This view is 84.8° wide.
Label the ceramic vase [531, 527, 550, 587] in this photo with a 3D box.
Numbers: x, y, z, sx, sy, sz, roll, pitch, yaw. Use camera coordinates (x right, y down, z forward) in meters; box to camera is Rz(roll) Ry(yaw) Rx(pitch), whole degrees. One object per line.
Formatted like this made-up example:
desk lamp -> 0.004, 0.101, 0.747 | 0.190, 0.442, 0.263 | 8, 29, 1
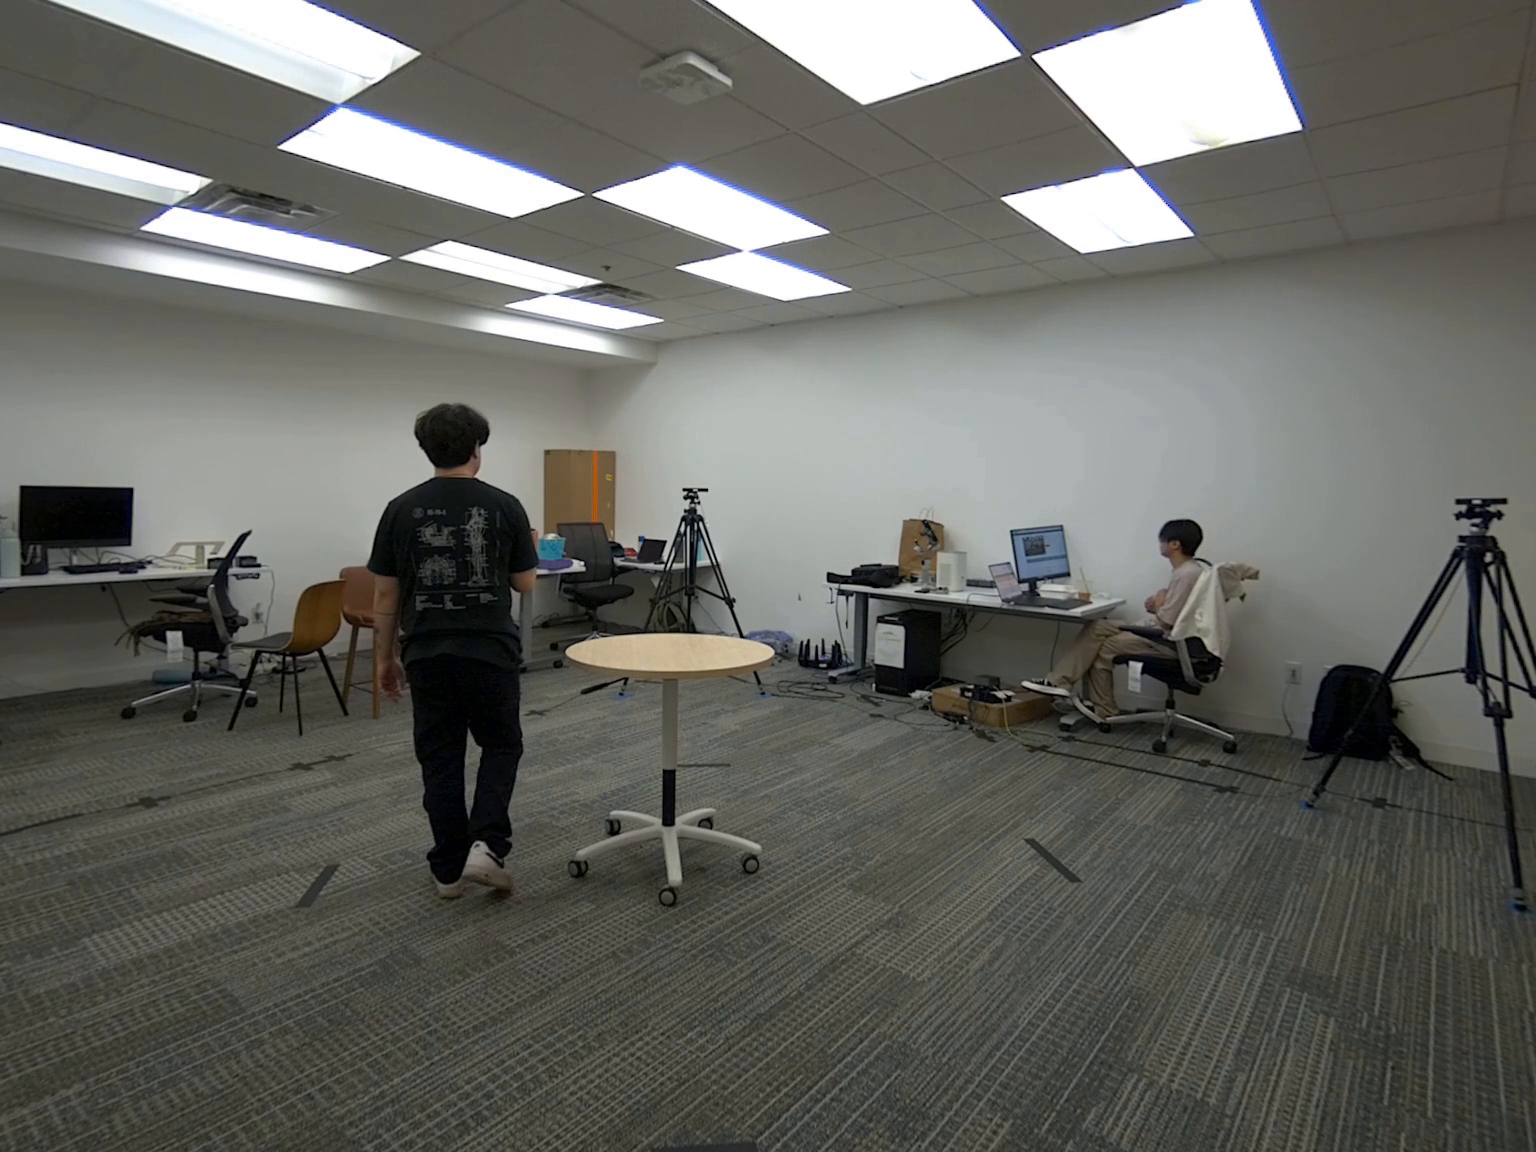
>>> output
ceramic vase -> -0.981, -0.077, 3.339 | 0.139, 0.218, 0.155 | 9, 9, 31
